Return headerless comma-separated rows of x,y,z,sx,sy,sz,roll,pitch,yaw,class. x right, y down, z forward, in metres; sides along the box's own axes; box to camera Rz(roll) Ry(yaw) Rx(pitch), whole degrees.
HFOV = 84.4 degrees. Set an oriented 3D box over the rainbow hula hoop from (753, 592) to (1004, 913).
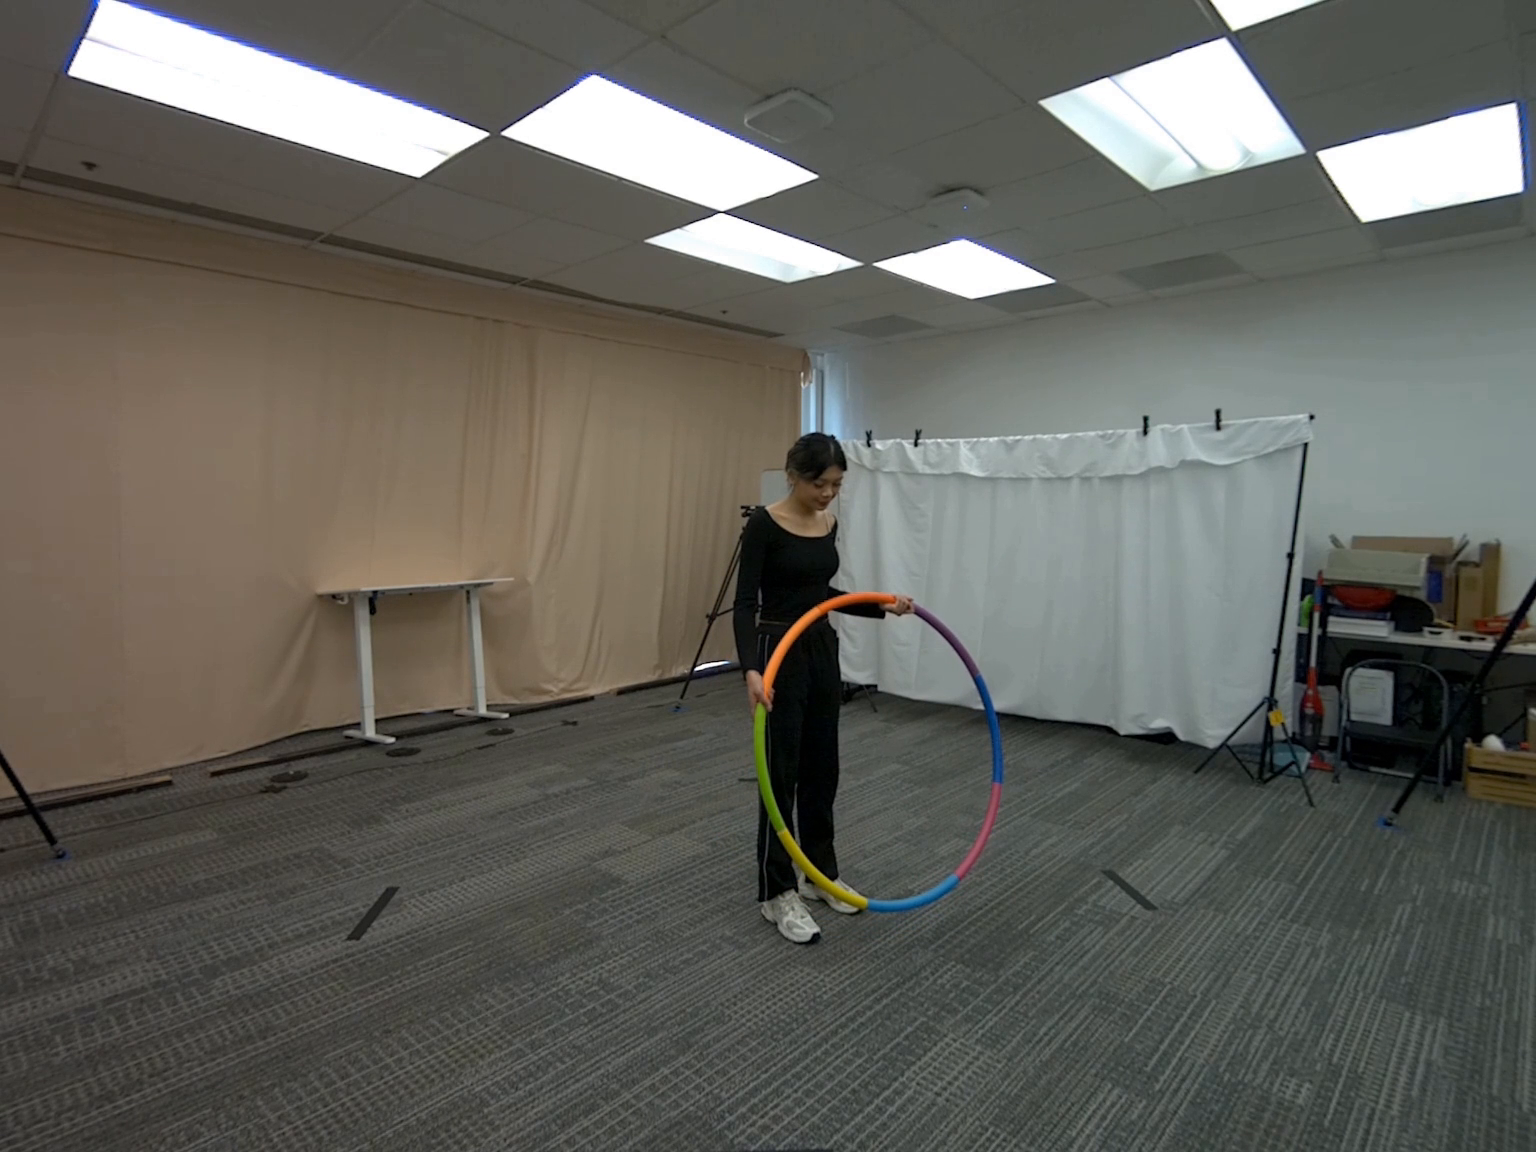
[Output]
0.399,0.546,2.695,0.953,0.987,0.036,-2,-12,-29,rainbow hula hoop
